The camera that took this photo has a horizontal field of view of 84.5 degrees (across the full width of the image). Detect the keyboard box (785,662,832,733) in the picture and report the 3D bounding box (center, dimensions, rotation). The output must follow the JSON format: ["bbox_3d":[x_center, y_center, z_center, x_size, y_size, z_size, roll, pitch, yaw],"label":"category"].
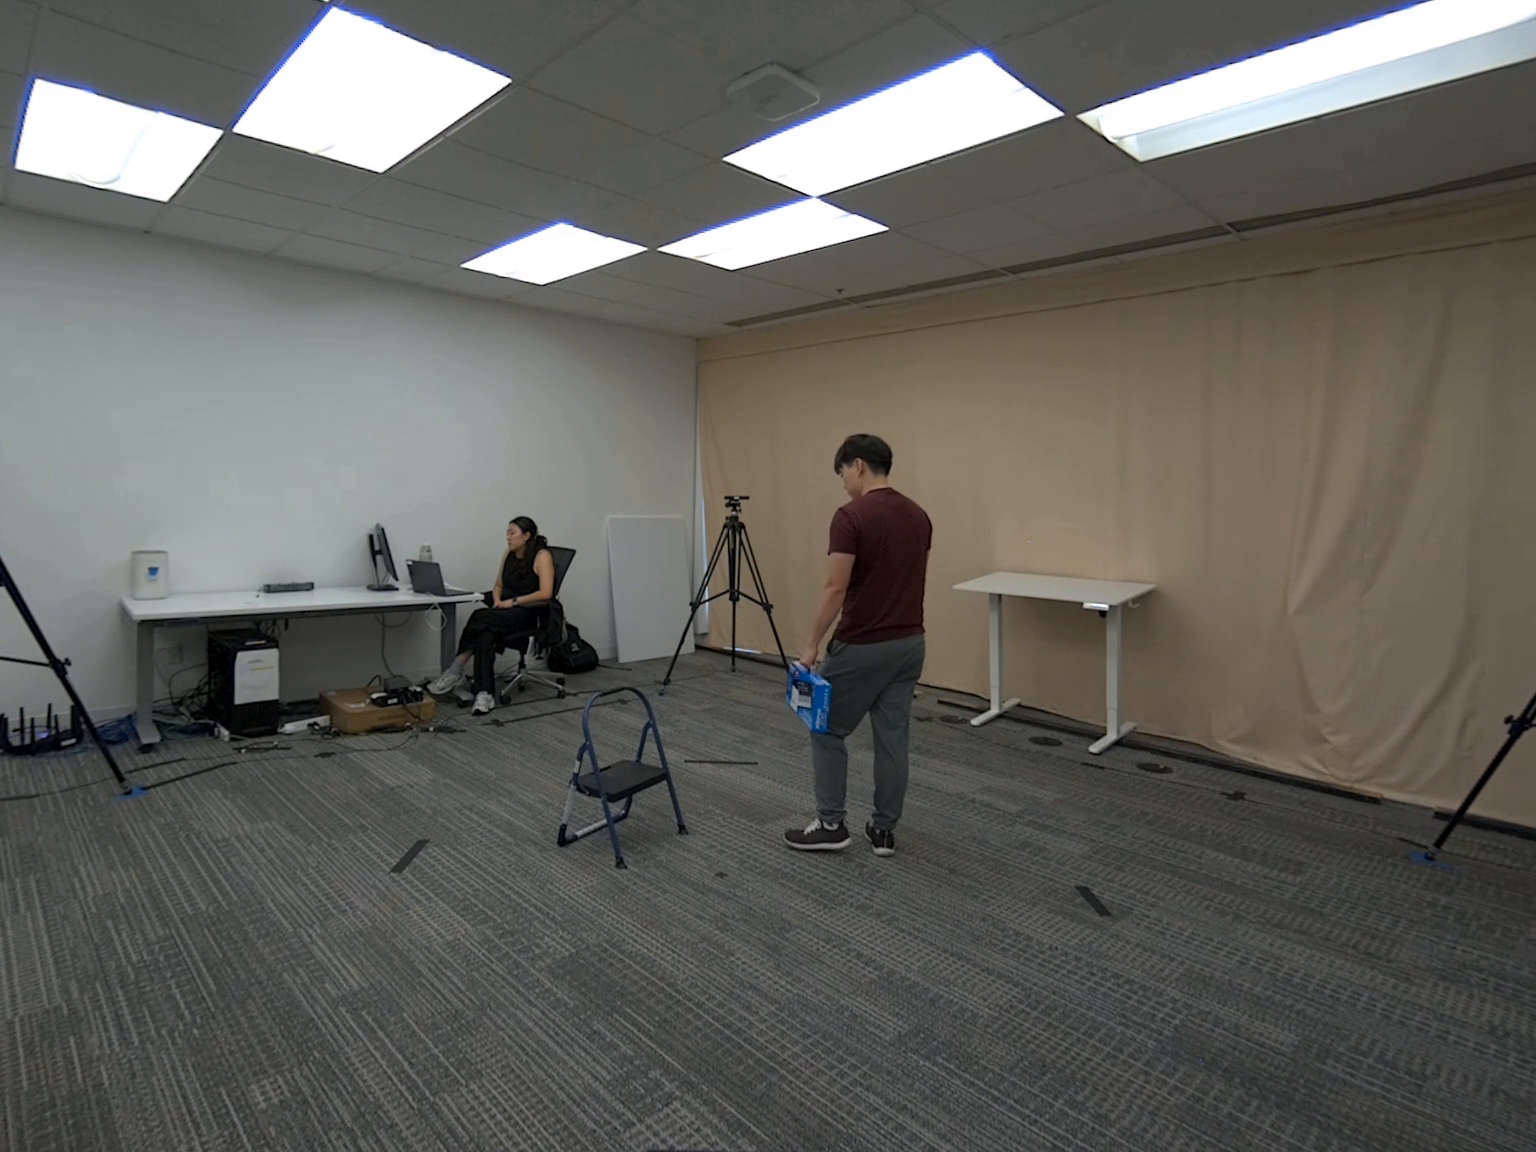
[{"bbox_3d":[0.144,0.454,3.231,0.058,0.175,0.441,5,4,-10],"label":"keyboard box"}]
